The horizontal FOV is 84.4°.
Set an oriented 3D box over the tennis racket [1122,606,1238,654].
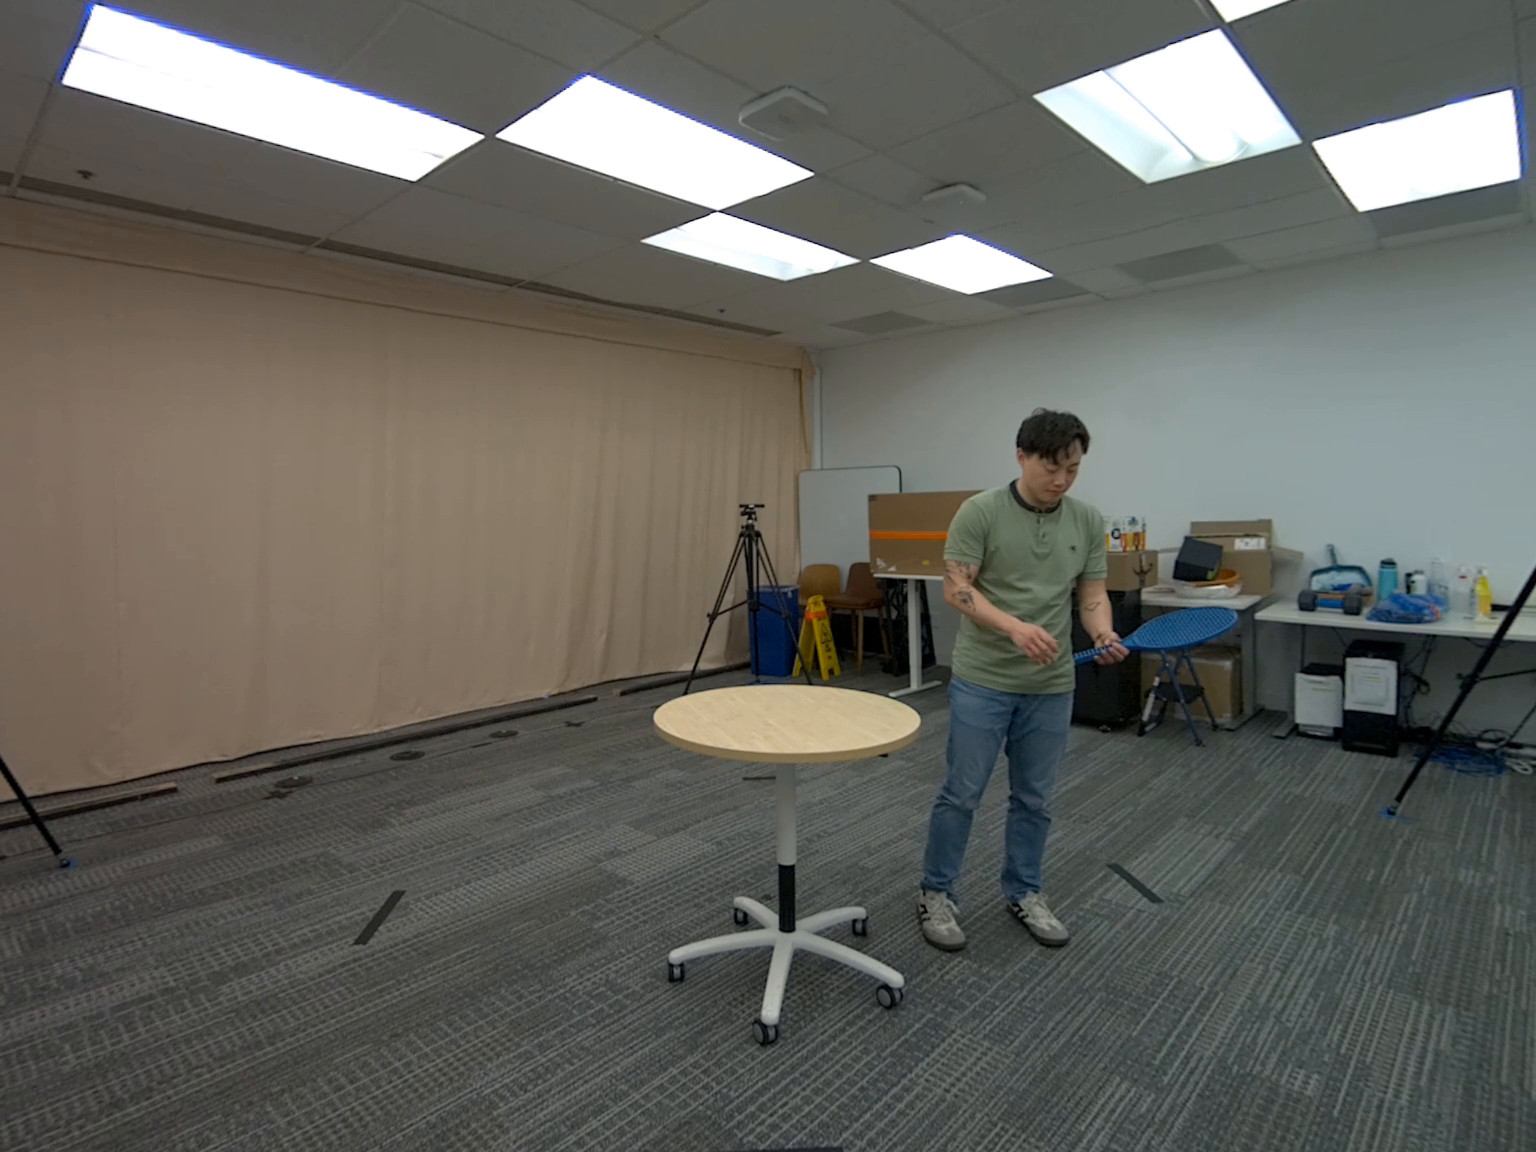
[{"bbox_3d":[1.066,0.172,2.365,0.439,0.031,0.213,-20,12,20],"label":"tennis racket"}]
